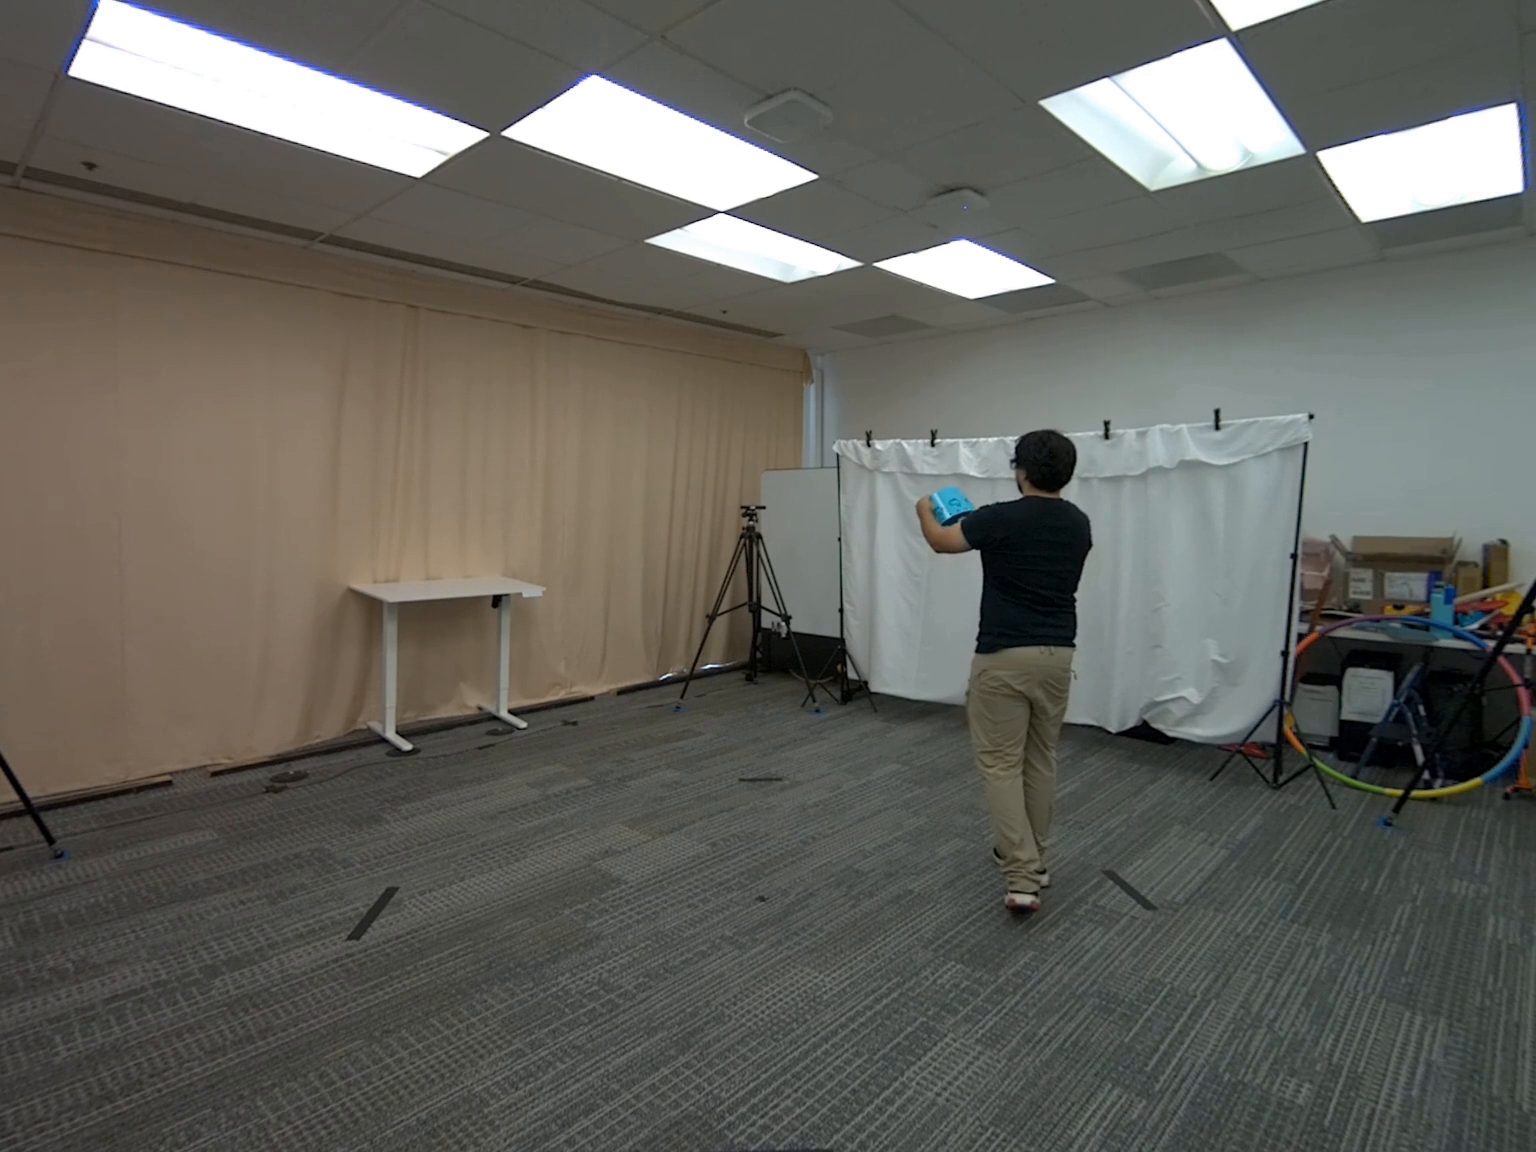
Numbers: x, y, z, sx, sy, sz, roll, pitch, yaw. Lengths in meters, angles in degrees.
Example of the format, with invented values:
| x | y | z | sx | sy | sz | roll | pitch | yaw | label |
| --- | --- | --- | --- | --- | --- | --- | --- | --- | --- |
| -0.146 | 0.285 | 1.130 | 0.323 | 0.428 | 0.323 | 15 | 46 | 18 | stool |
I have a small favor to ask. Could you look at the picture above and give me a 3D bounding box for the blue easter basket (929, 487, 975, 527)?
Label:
| x | y | z | sx | sy | sz | roll | pitch | yaw | label |
| --- | --- | --- | --- | --- | --- | --- | --- | --- | --- |
| 0.778 | -0.258 | 3.551 | 0.241 | 0.160 | 0.239 | -15 | -32 | -12 | blue easter basket |
